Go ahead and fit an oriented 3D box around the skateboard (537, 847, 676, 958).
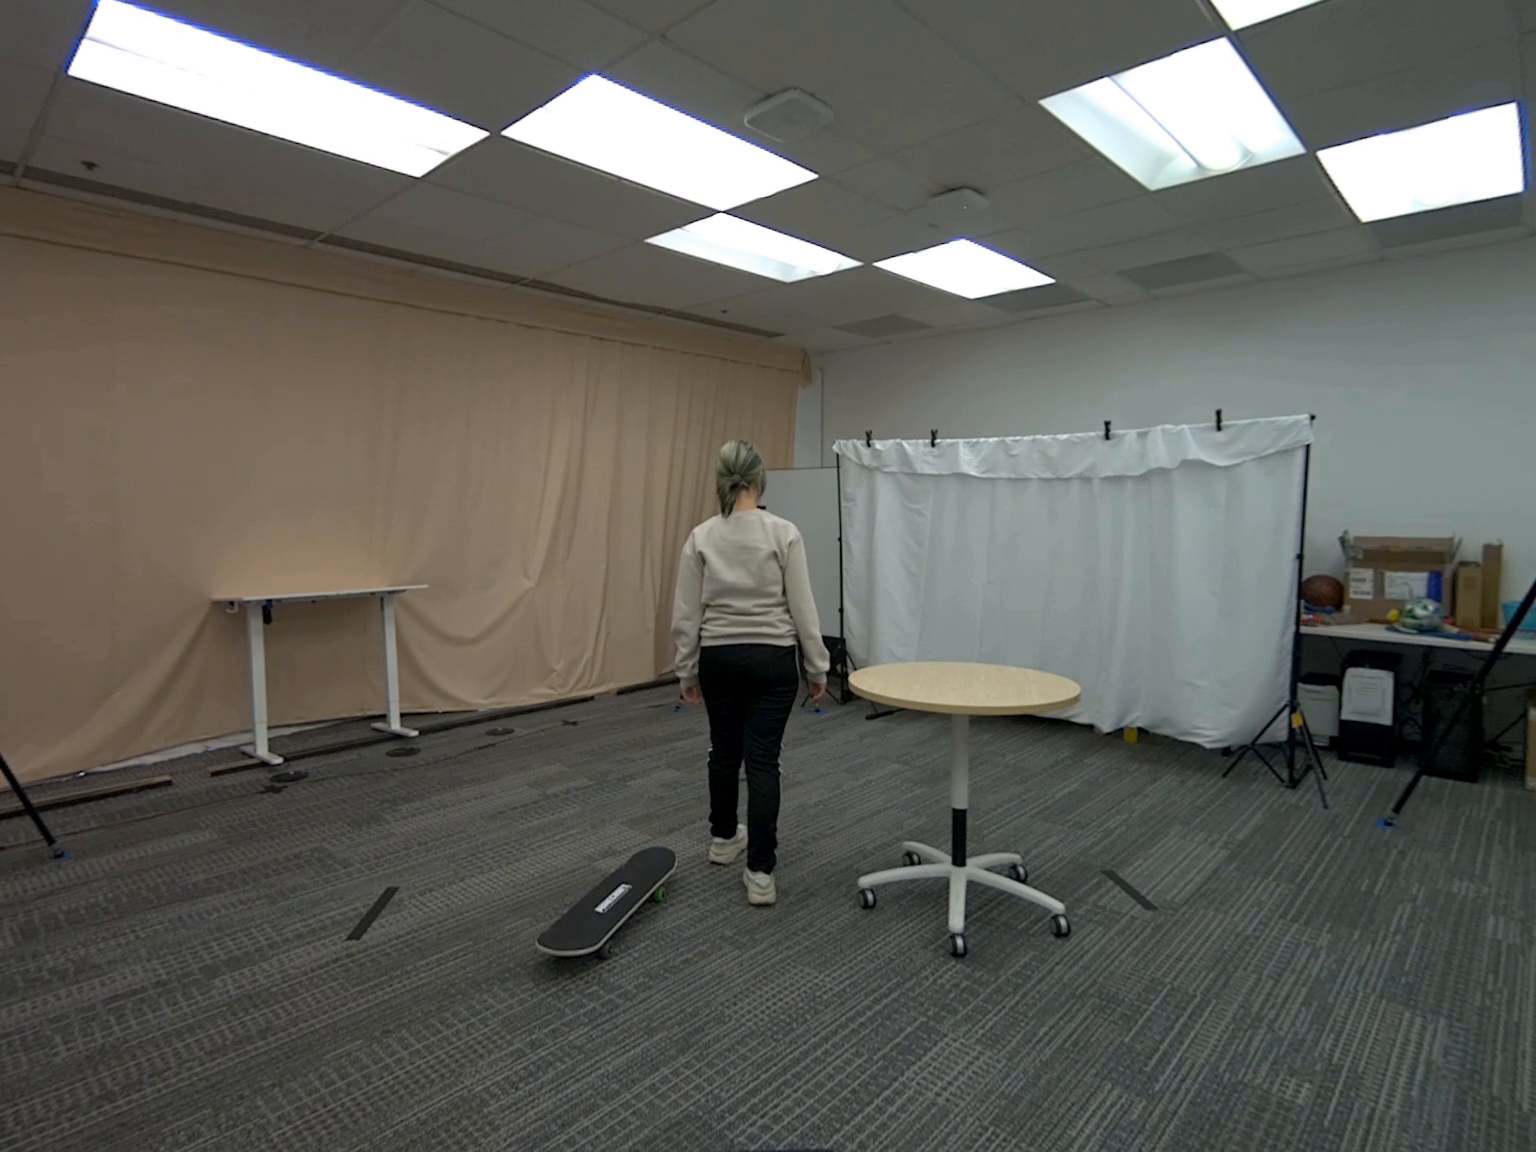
[{"bbox_3d":[-0.519,1.105,2.801,0.197,0.110,0.771,1,5,18],"label":"skateboard"}]
